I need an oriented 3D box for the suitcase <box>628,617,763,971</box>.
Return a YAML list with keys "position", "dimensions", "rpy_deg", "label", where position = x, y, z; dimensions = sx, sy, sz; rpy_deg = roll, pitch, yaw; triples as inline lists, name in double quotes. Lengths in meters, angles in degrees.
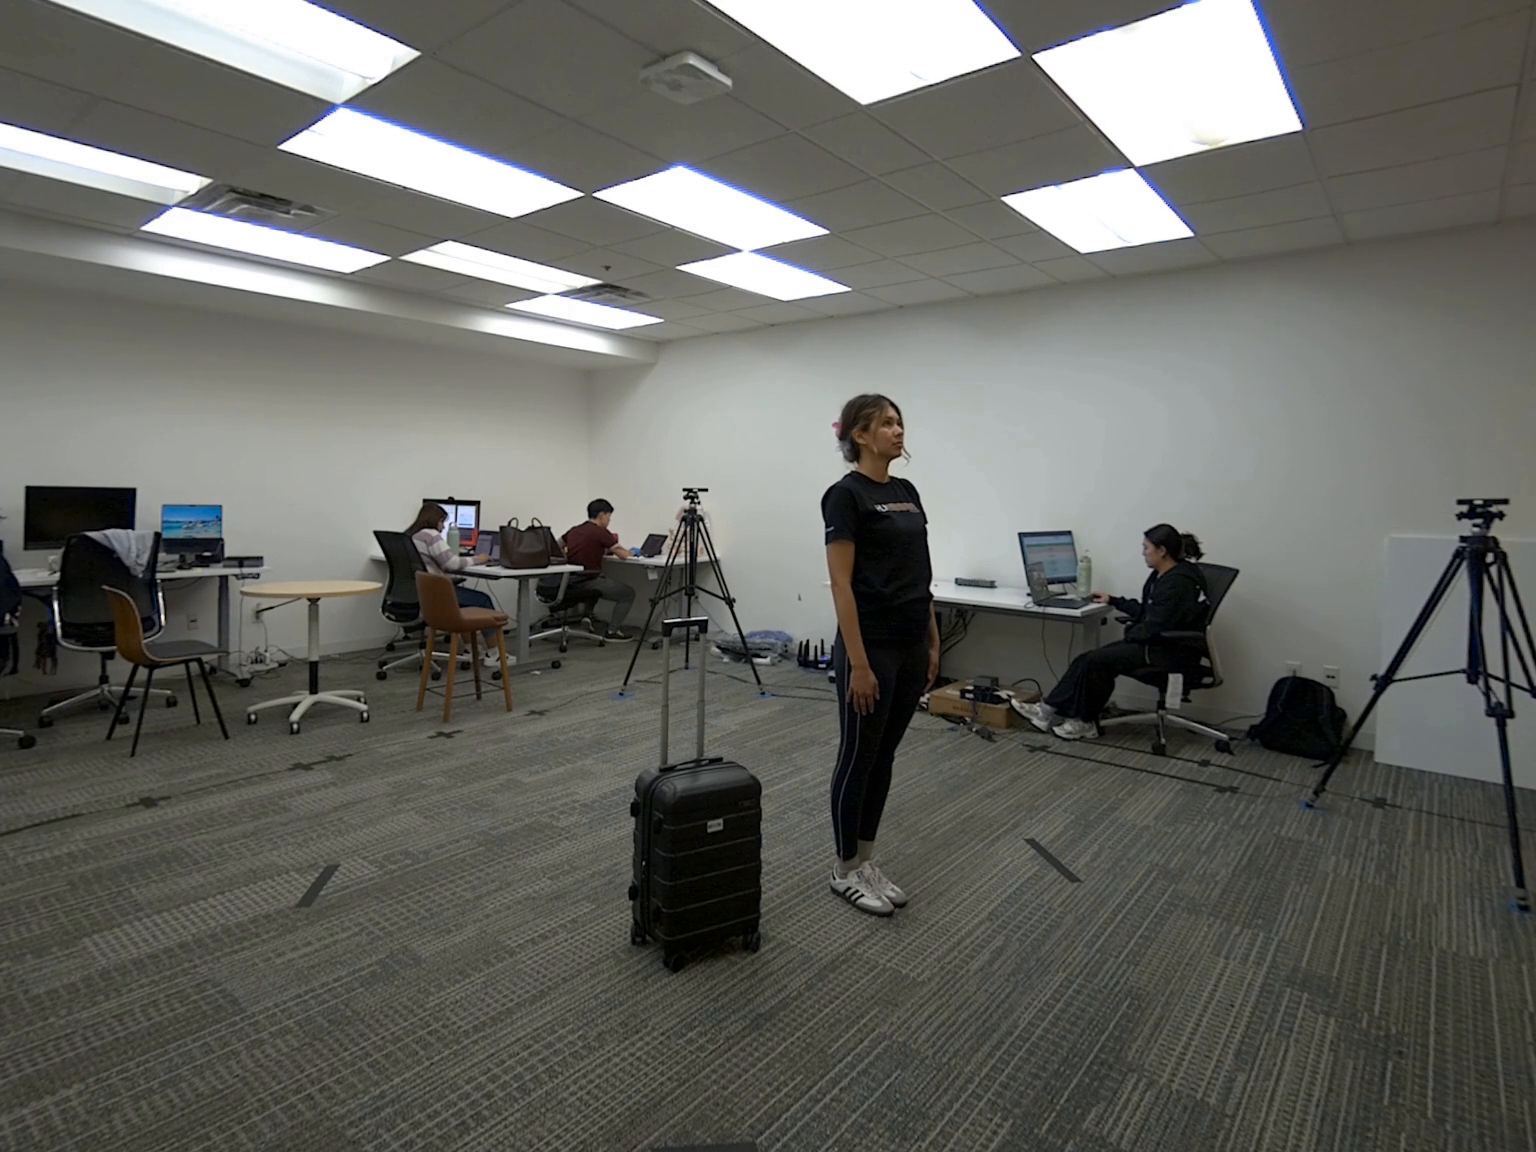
- position: [-0.216, 0.648, 2.566]
  dimensions: [0.374, 0.975, 0.265]
  rpy_deg: [-1, 5, -29]
  label: "suitcase"
